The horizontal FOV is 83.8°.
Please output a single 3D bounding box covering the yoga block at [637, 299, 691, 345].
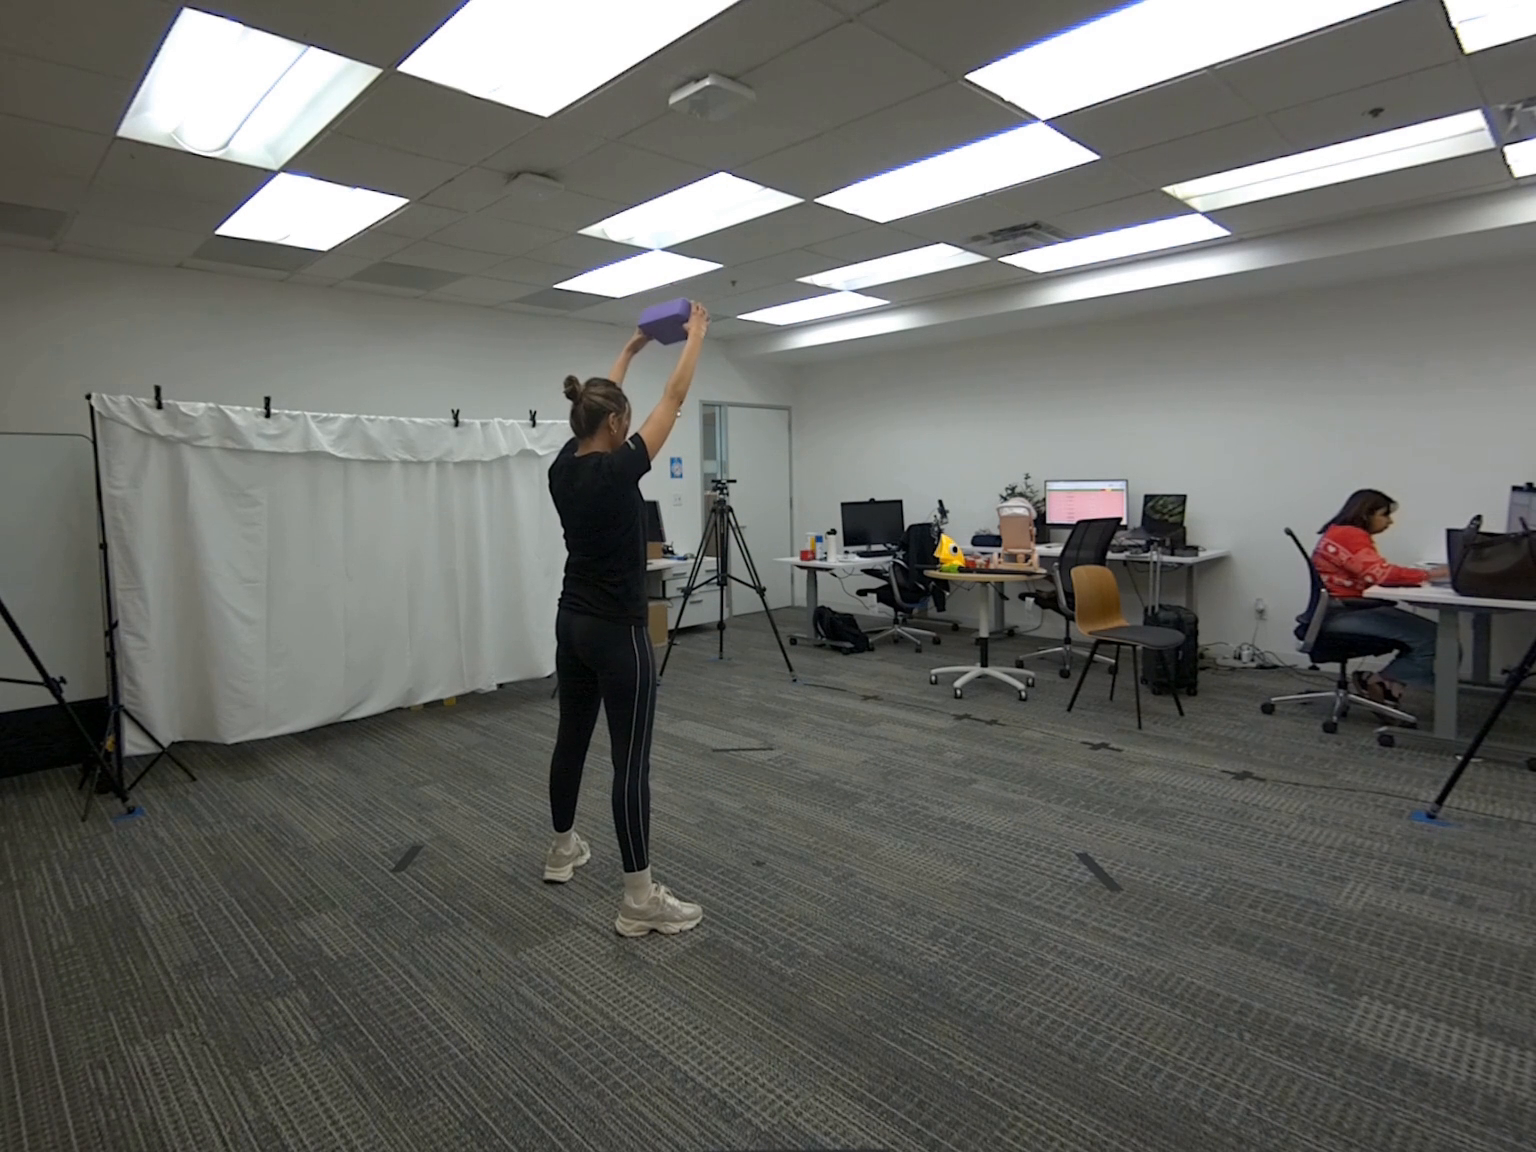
[{"bbox_3d":[-0.350,-0.905,3.046,0.236,0.077,0.143,0,-17,46],"label":"yoga block"}]
